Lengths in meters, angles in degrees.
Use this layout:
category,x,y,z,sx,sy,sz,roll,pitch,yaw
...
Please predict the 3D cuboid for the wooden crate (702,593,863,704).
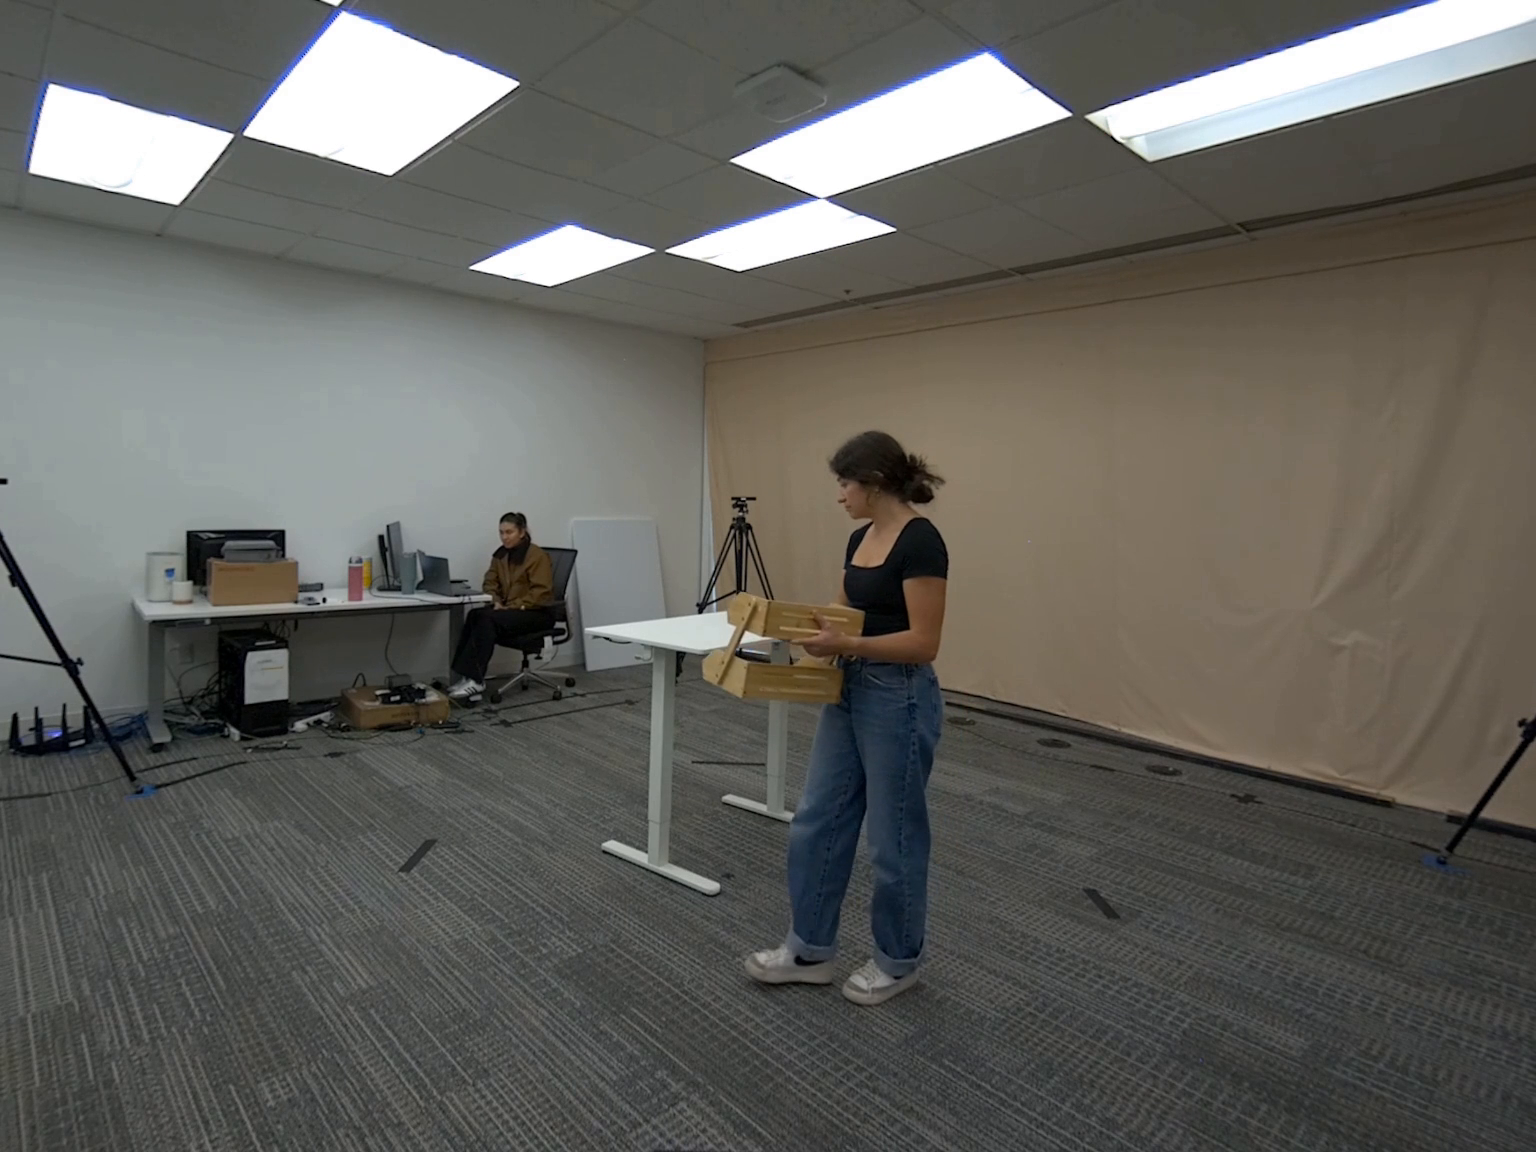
category,x,y,z,sx,sy,sz,roll,pitch,yaw
wooden crate,0.028,0.184,2.285,0.317,0.273,0.309,8,3,-30
